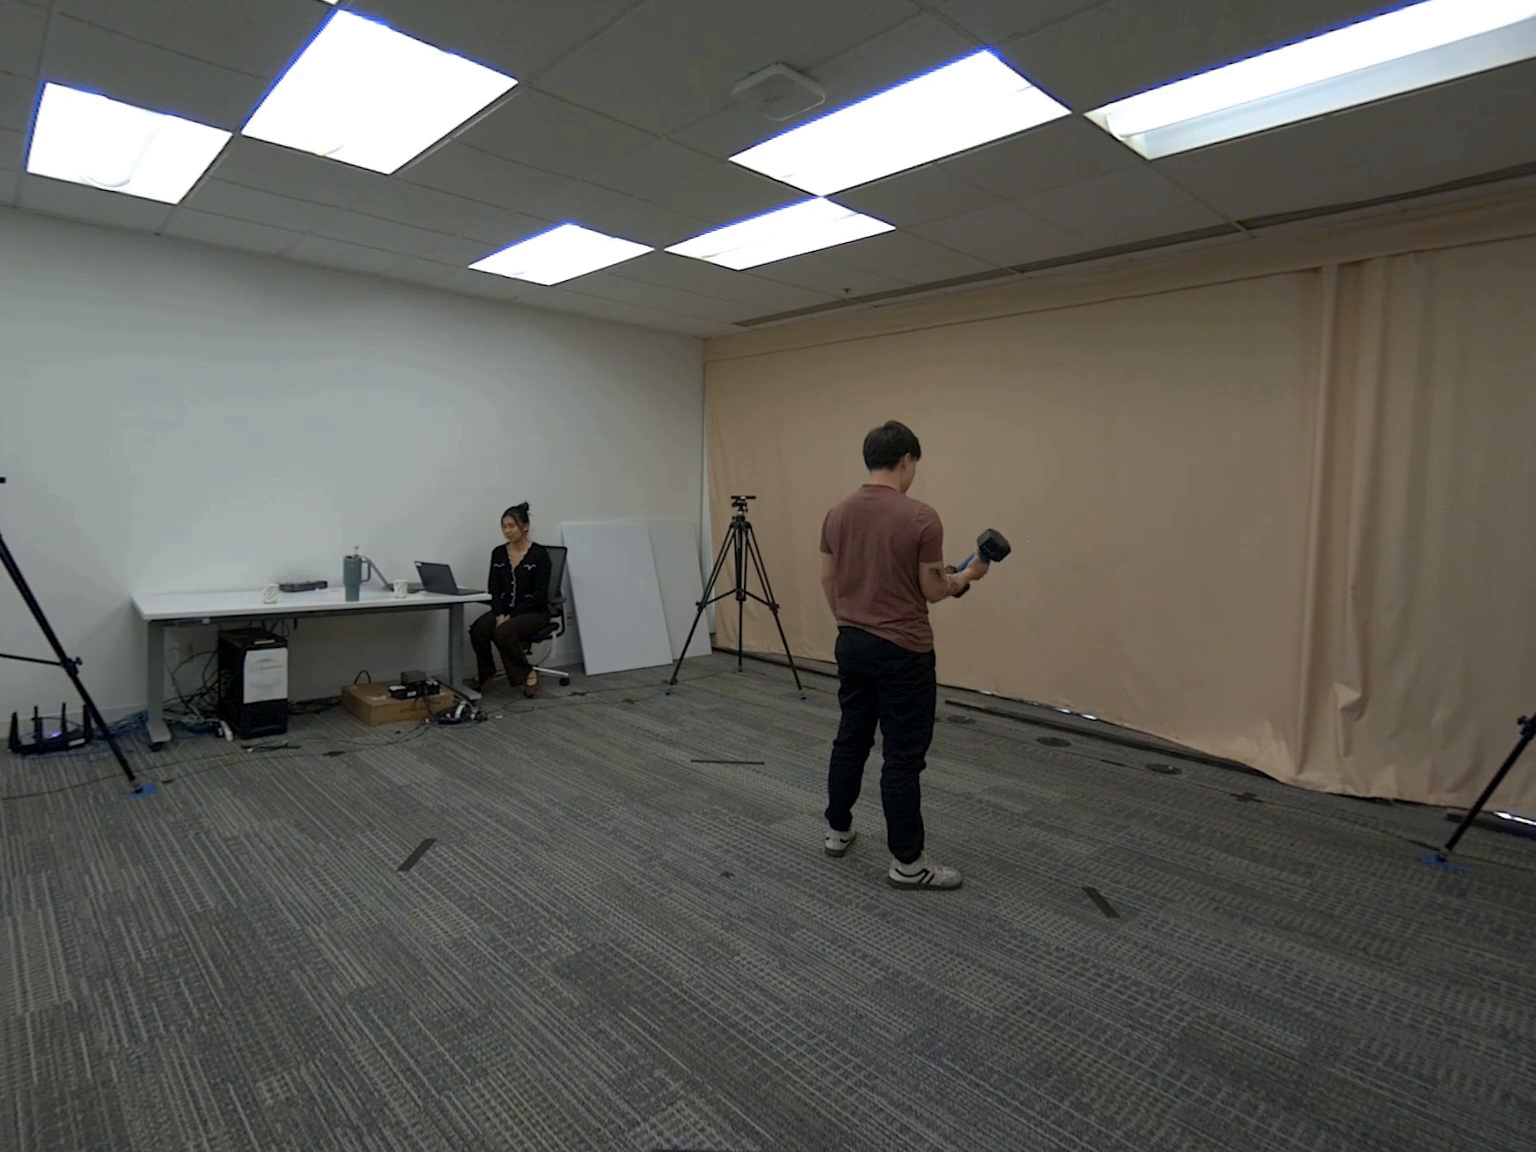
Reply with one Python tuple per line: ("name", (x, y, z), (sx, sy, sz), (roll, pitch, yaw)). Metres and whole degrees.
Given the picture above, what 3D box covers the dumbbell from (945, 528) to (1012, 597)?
("dumbbell", (0.778, -0.047, 3.234), (0.293, 0.125, 0.107), (-47, -13, 25))
